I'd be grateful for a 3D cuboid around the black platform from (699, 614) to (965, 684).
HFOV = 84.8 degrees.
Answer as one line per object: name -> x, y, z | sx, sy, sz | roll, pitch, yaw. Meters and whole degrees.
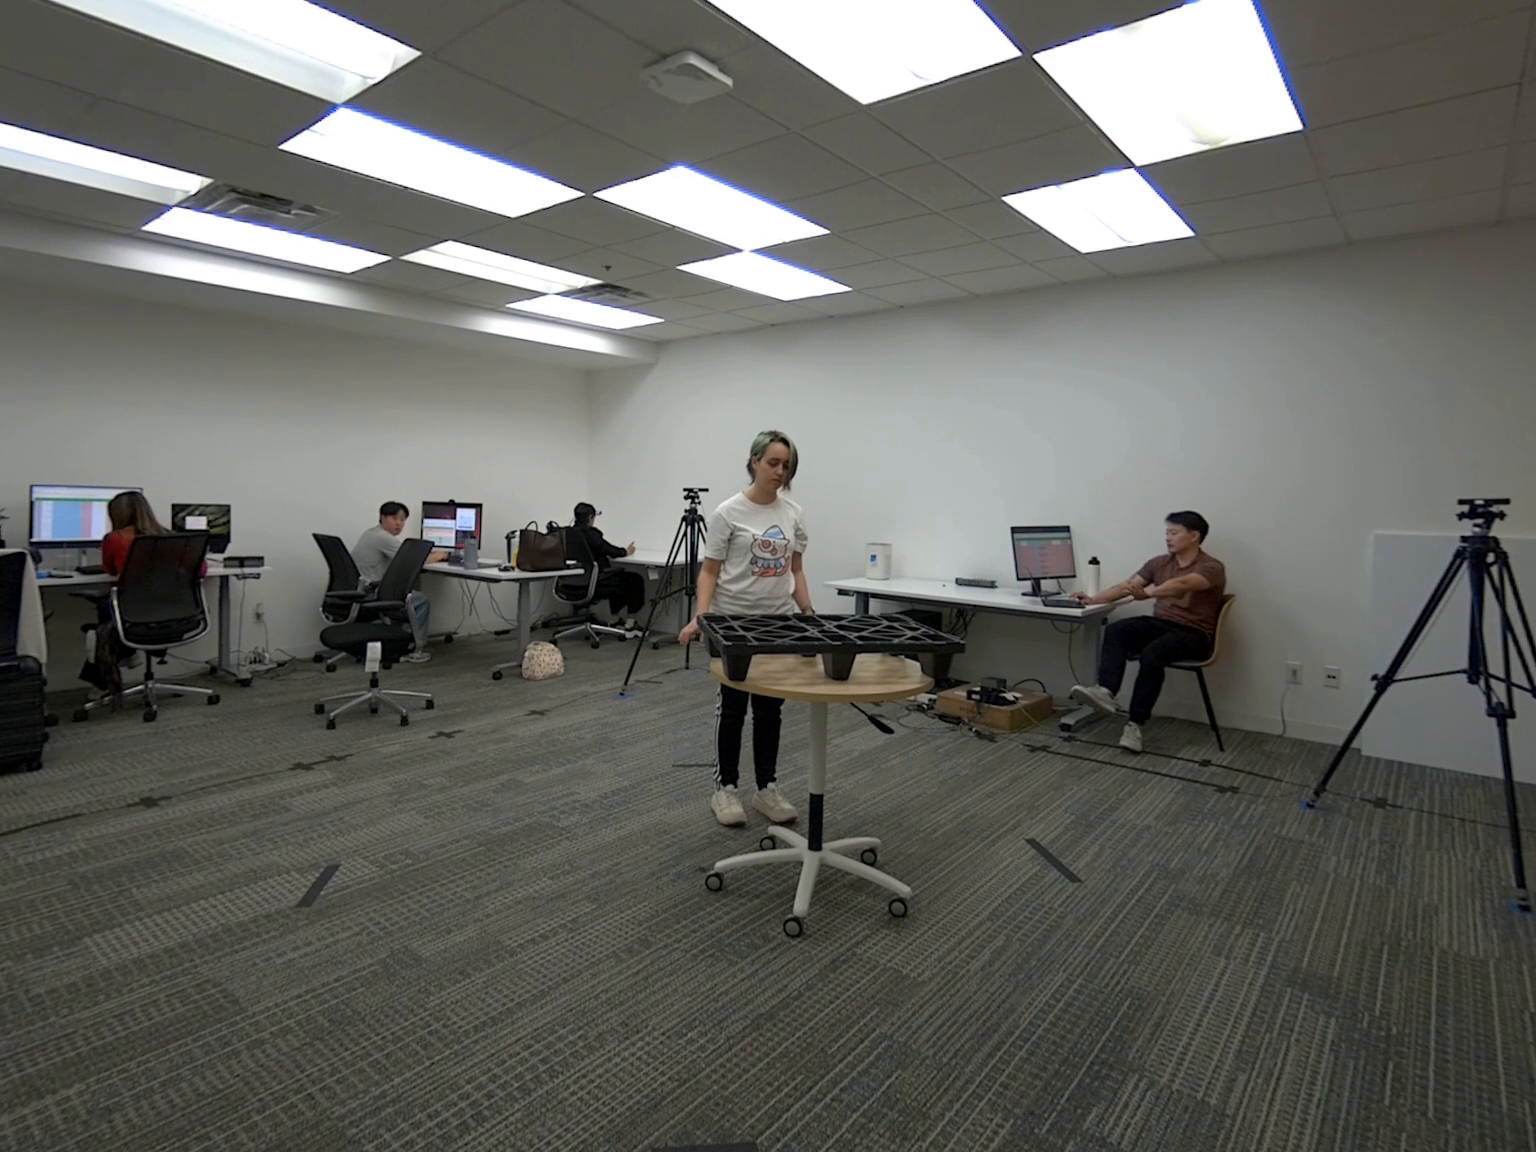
black platform -> 0.173, 0.241, 2.968 | 0.797, 0.143, 0.614 | 0, 6, -11
